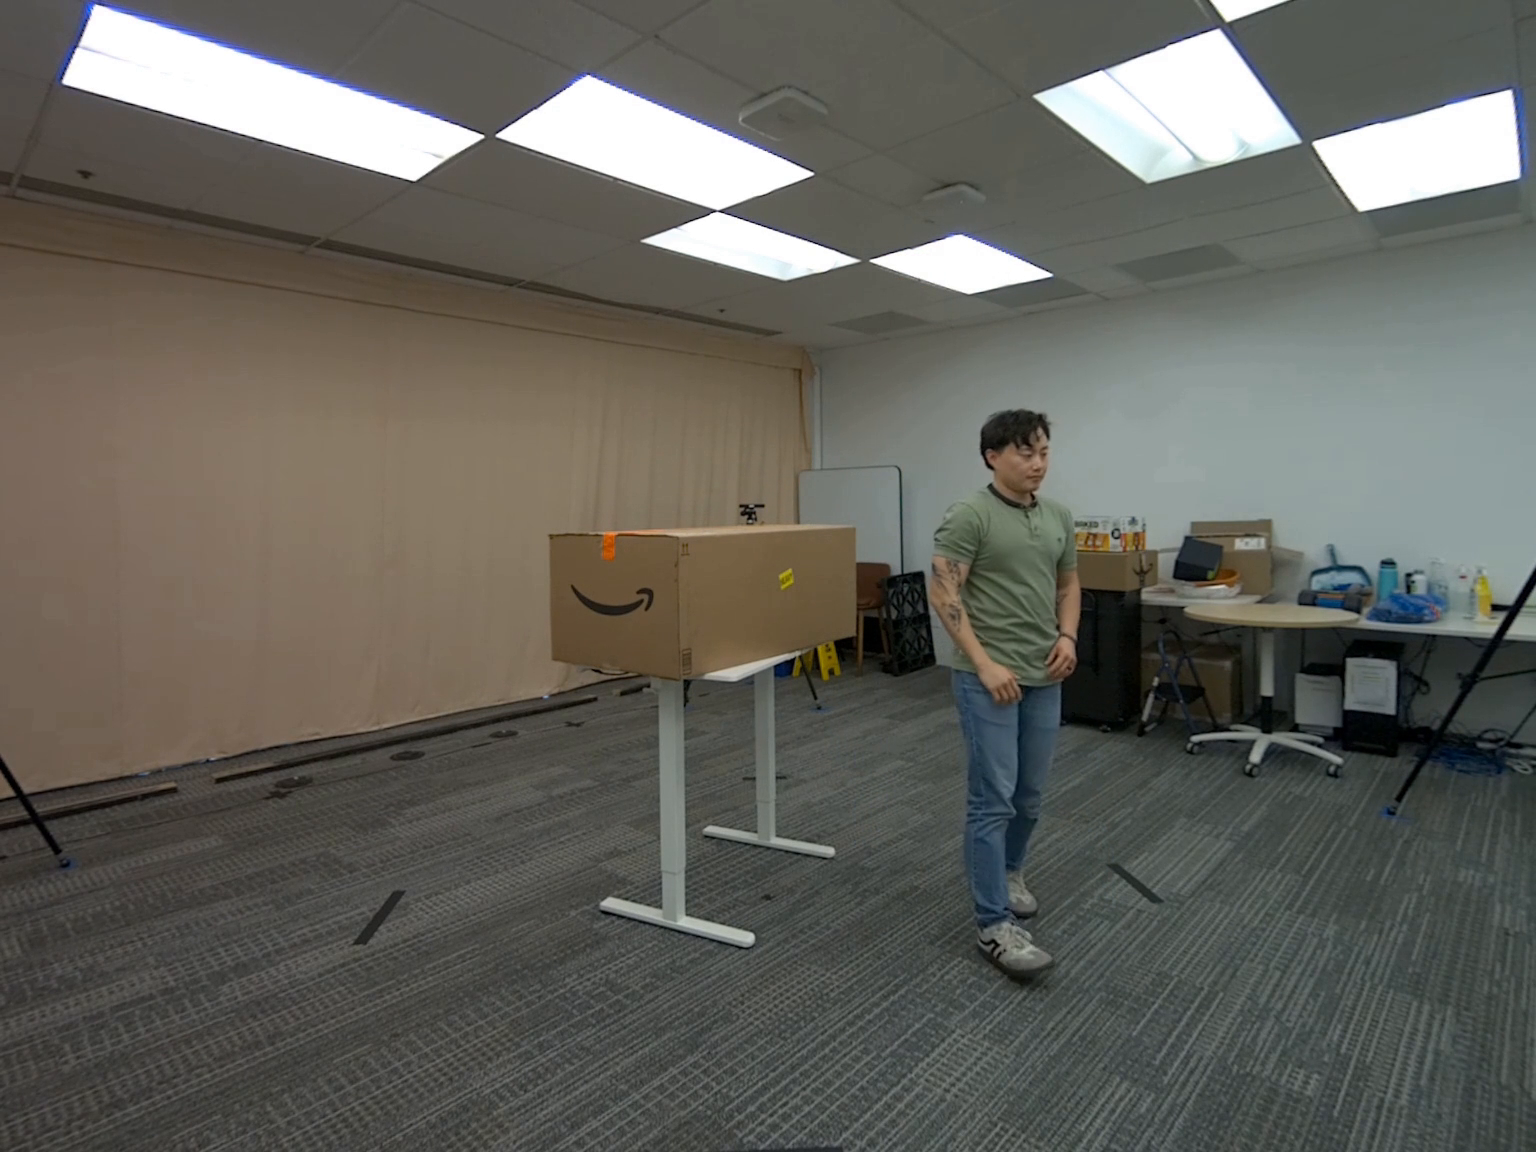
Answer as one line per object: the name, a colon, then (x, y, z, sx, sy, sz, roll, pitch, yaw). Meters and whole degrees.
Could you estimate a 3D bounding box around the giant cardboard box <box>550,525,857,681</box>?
giant cardboard box: (-0.192, 0.048, 3.013, 0.596, 0.425, 0.996, 3, 6, 37)
